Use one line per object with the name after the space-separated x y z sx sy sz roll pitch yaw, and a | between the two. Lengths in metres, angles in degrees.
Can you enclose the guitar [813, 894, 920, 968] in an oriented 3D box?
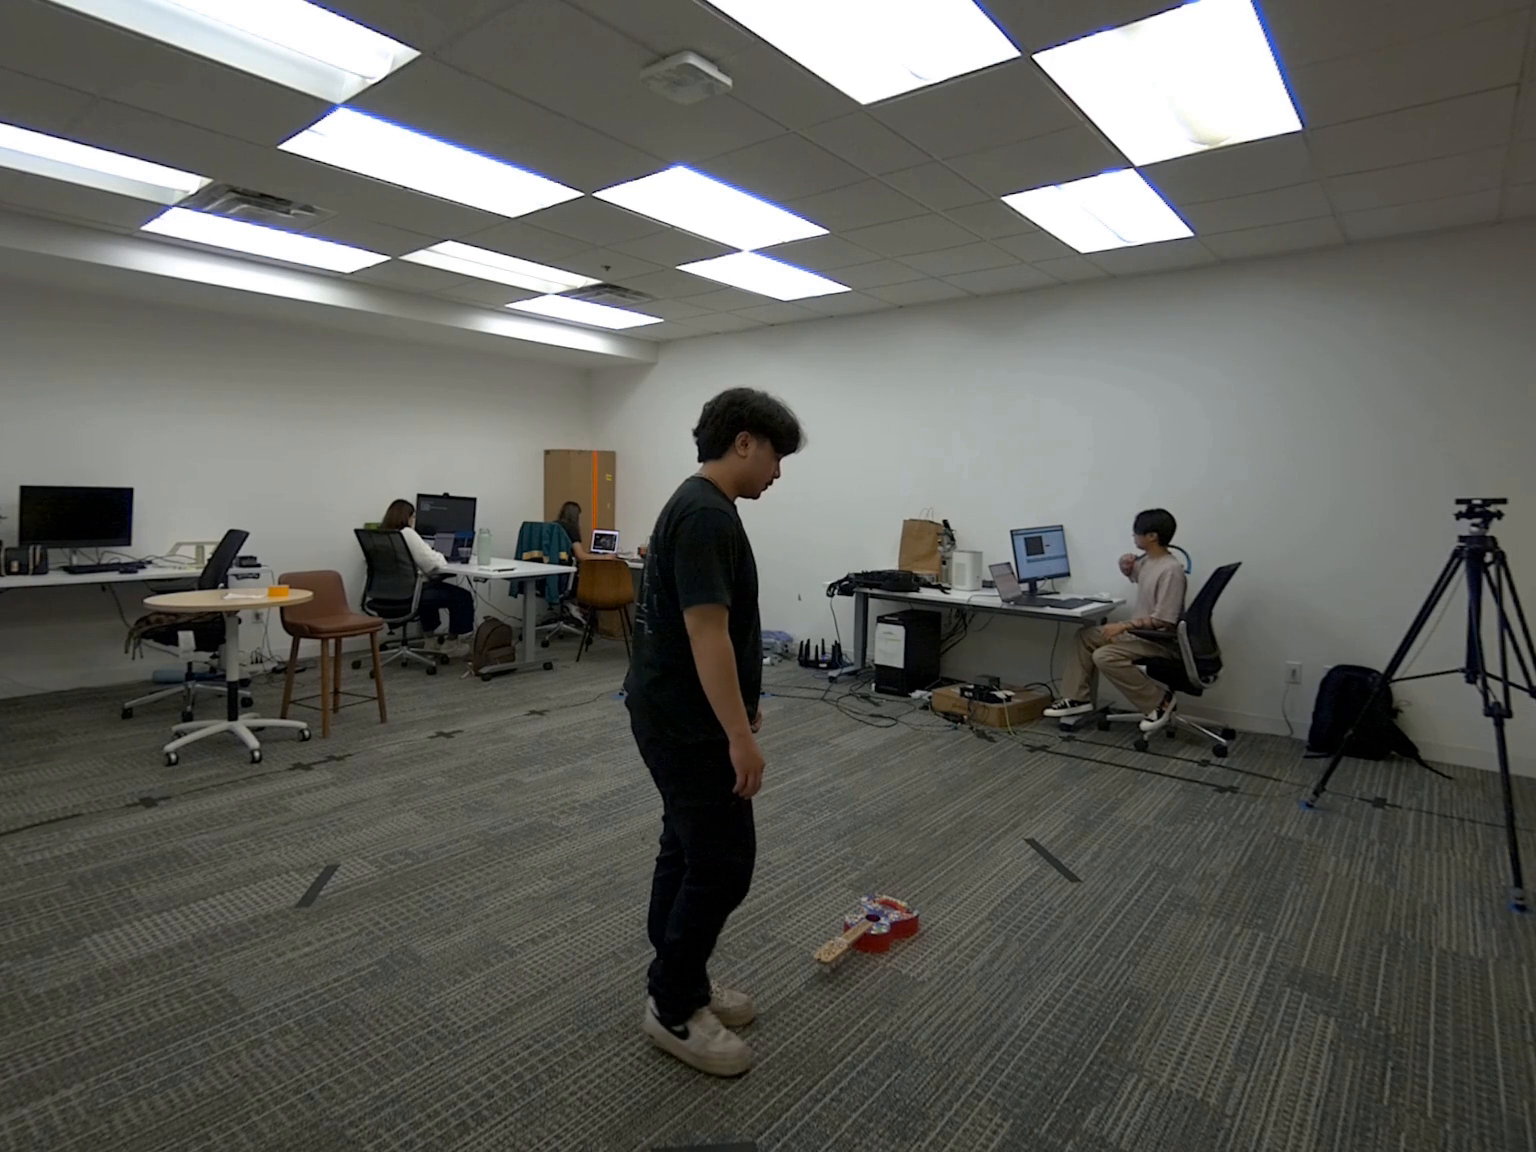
0.262 1.094 2.624 0.482 0.070 0.200 -3 7 -44 | guitar
